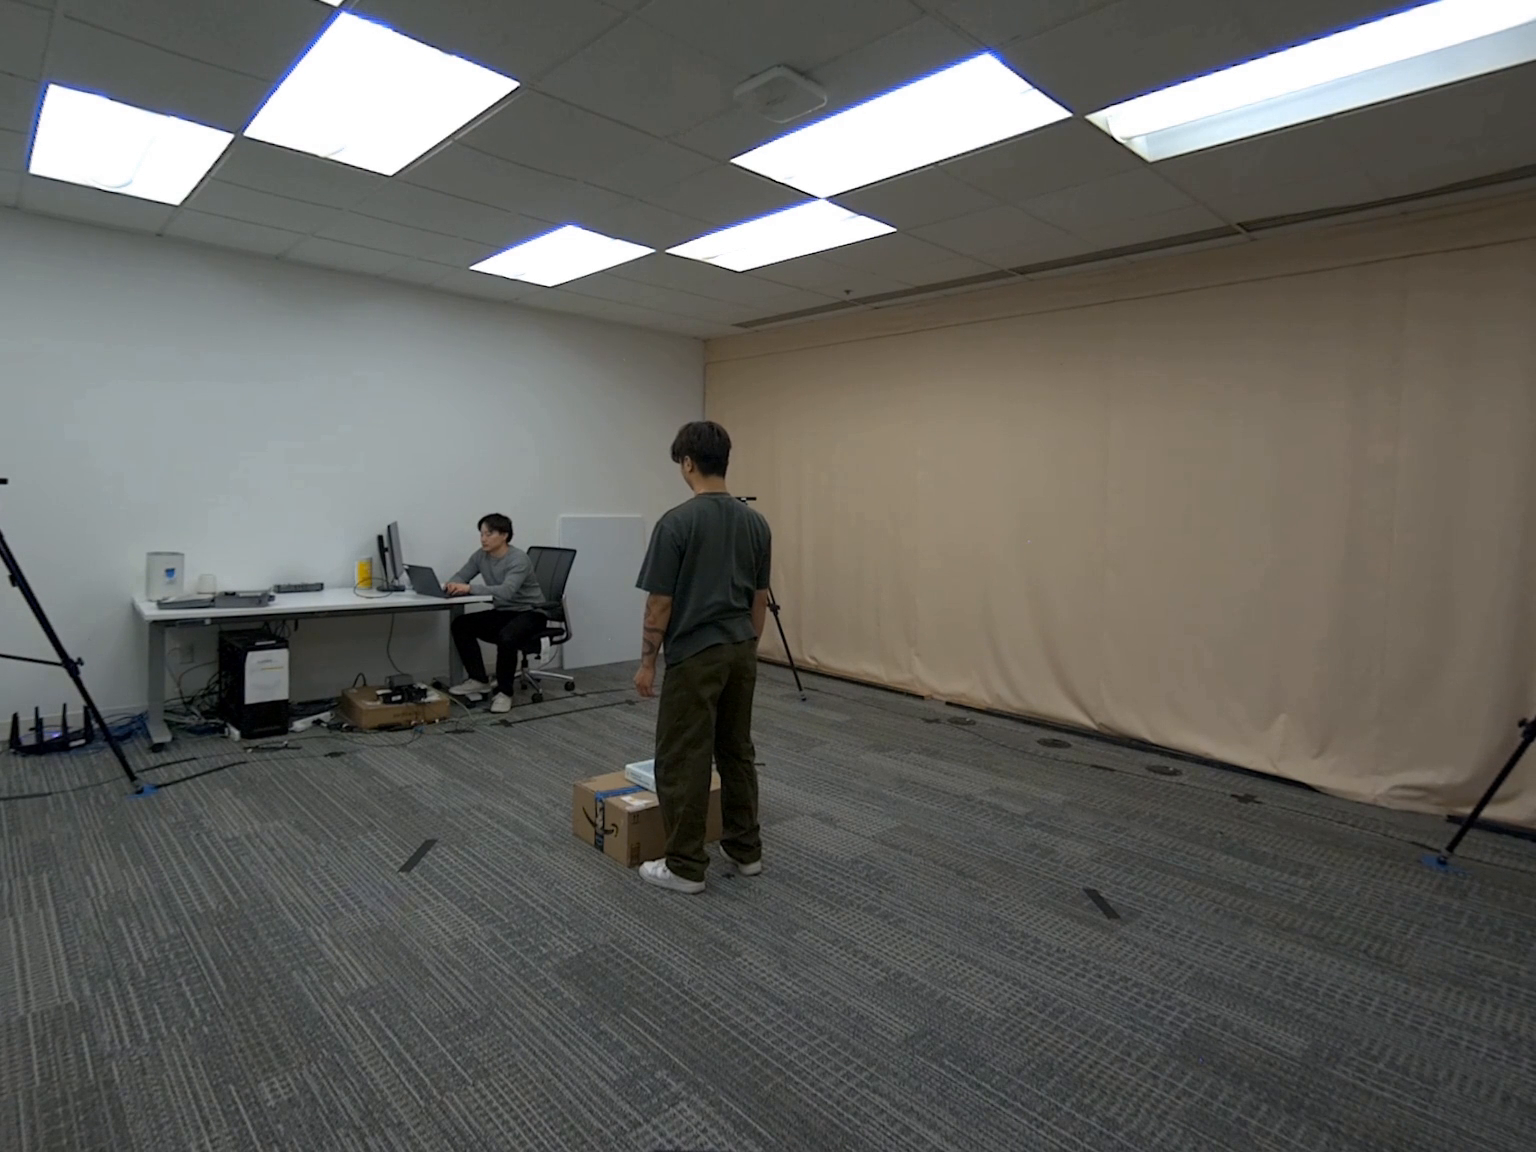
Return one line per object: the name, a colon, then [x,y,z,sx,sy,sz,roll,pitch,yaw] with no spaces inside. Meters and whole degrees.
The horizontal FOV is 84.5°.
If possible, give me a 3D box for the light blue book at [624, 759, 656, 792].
light blue book: [-0.447,0.828,3.487,0.187,0.059,0.268,-2,6,-43]
